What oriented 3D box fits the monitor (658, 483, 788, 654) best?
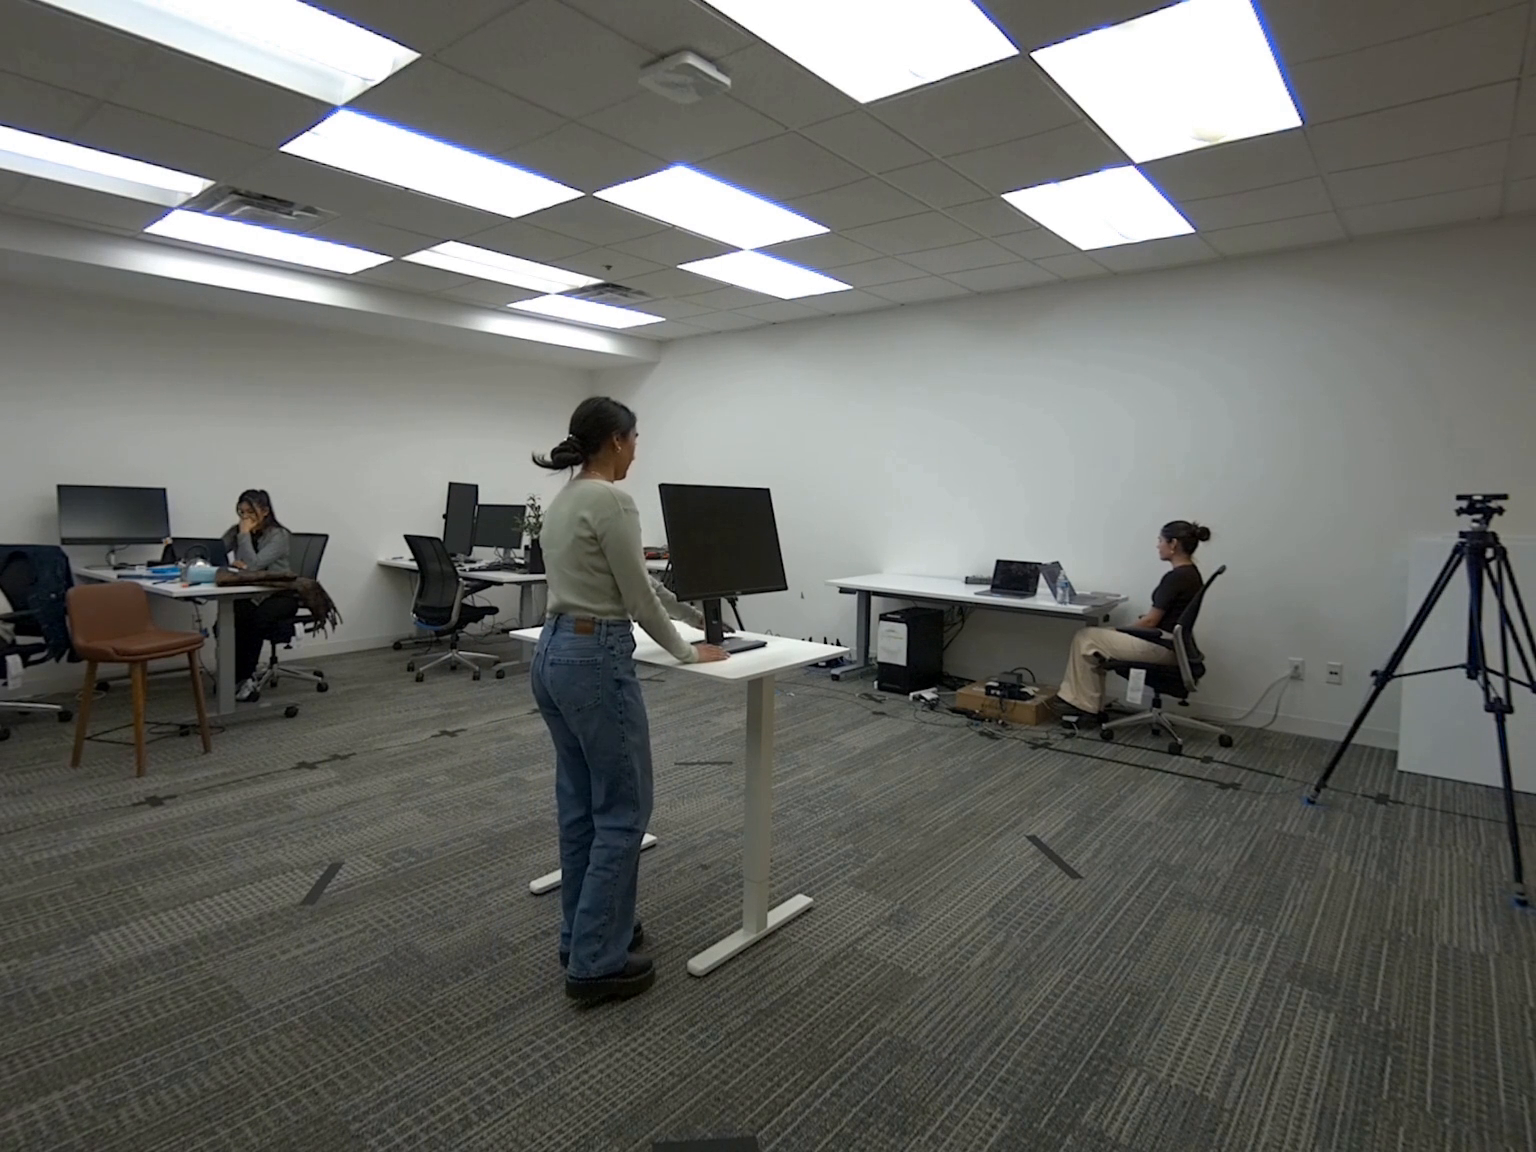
[{"bbox_3d":[-0.156,-0.030,2.685,0.181,0.514,0.514,7,5,37],"label":"monitor"}]
